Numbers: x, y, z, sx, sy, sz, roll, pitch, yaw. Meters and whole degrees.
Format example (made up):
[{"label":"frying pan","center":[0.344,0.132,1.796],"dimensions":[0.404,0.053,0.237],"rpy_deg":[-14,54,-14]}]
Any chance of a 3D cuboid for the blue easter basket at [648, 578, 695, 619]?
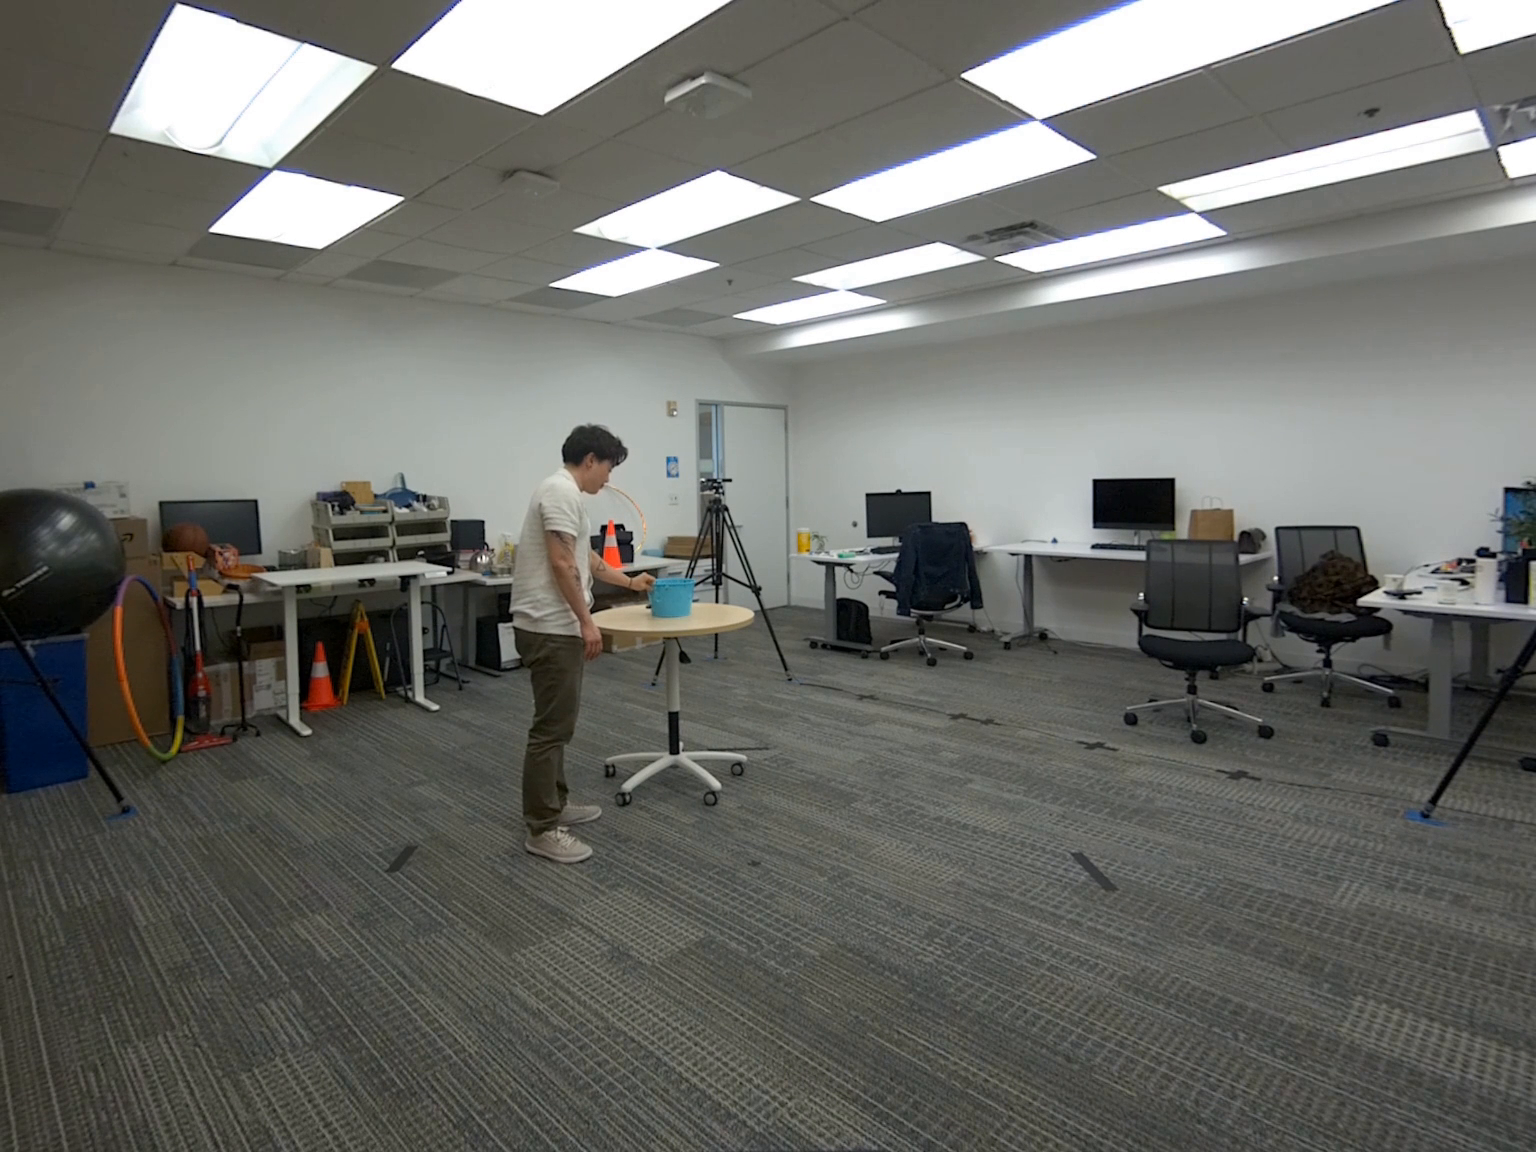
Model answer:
[{"label":"blue easter basket","center":[-0.454,0.101,3.945],"dimensions":[0.243,0.155,0.245],"rpy_deg":[0,5,-2]}]
